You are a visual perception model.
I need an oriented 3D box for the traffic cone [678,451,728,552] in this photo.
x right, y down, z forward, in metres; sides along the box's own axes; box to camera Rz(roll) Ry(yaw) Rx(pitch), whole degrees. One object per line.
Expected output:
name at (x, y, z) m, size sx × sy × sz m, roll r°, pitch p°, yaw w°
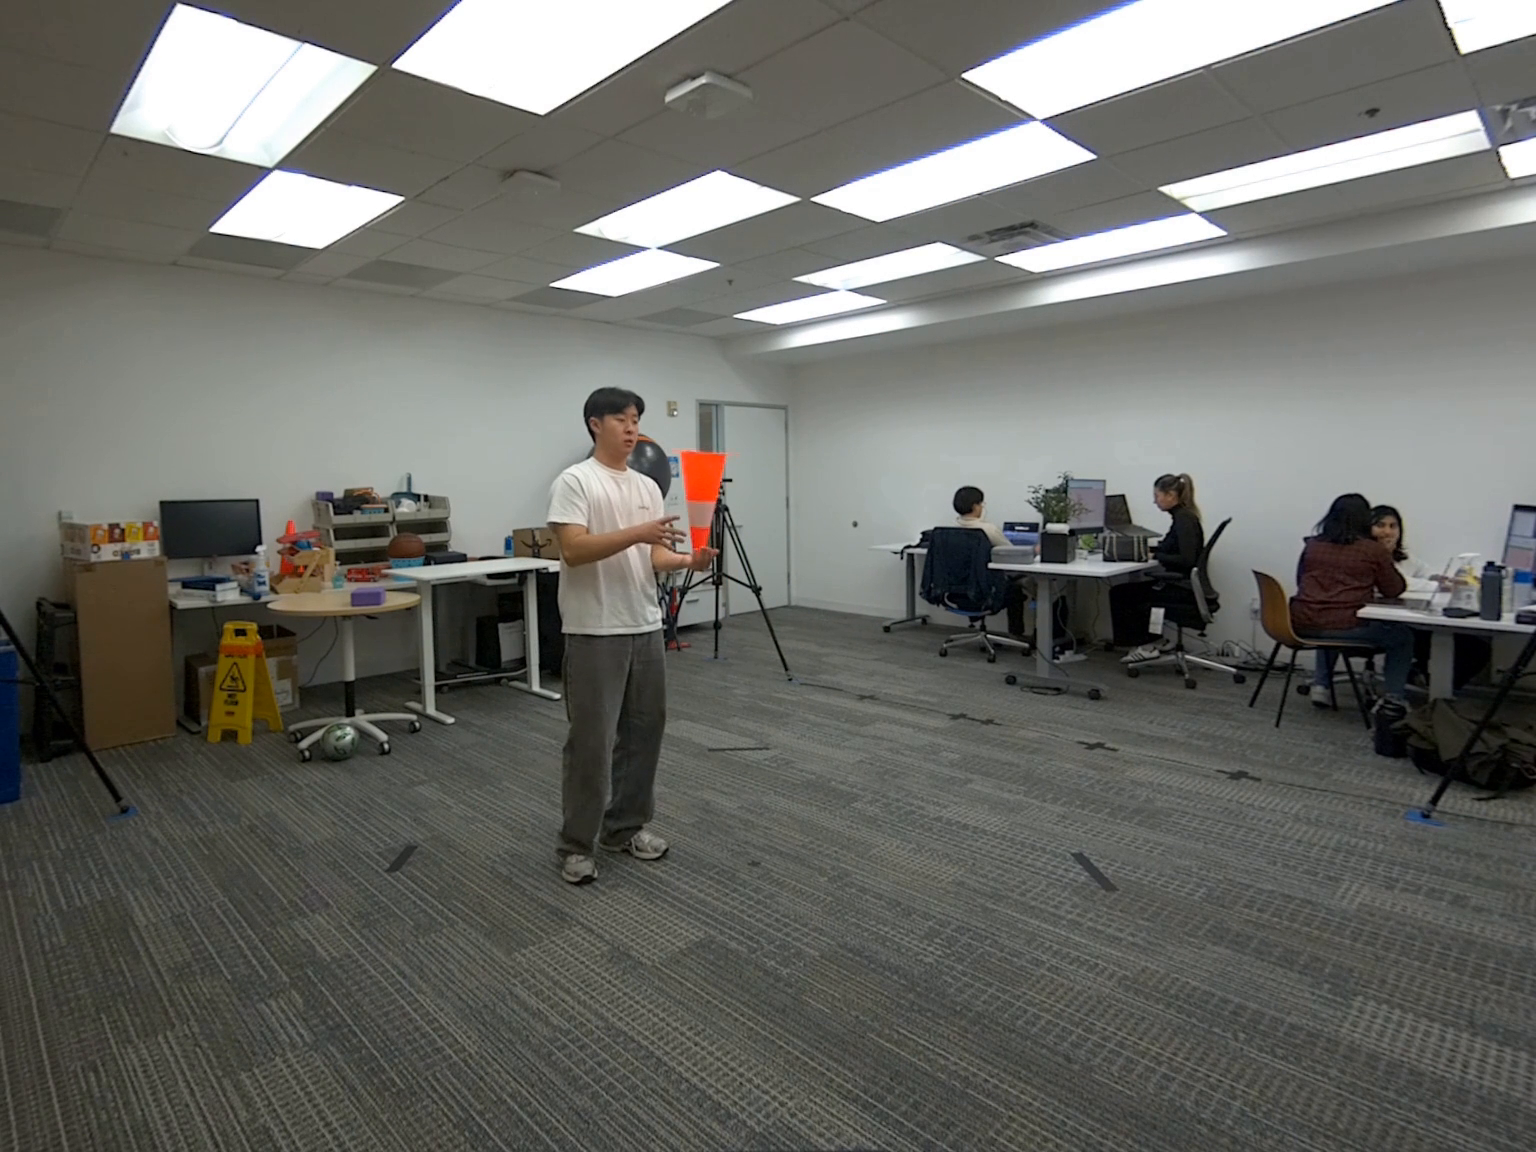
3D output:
traffic cone at (-0.231, -0.246, 2.960) m, size 0.198 × 0.382 × 0.211 m, roll -1°, pitch 7°, yaw -37°
